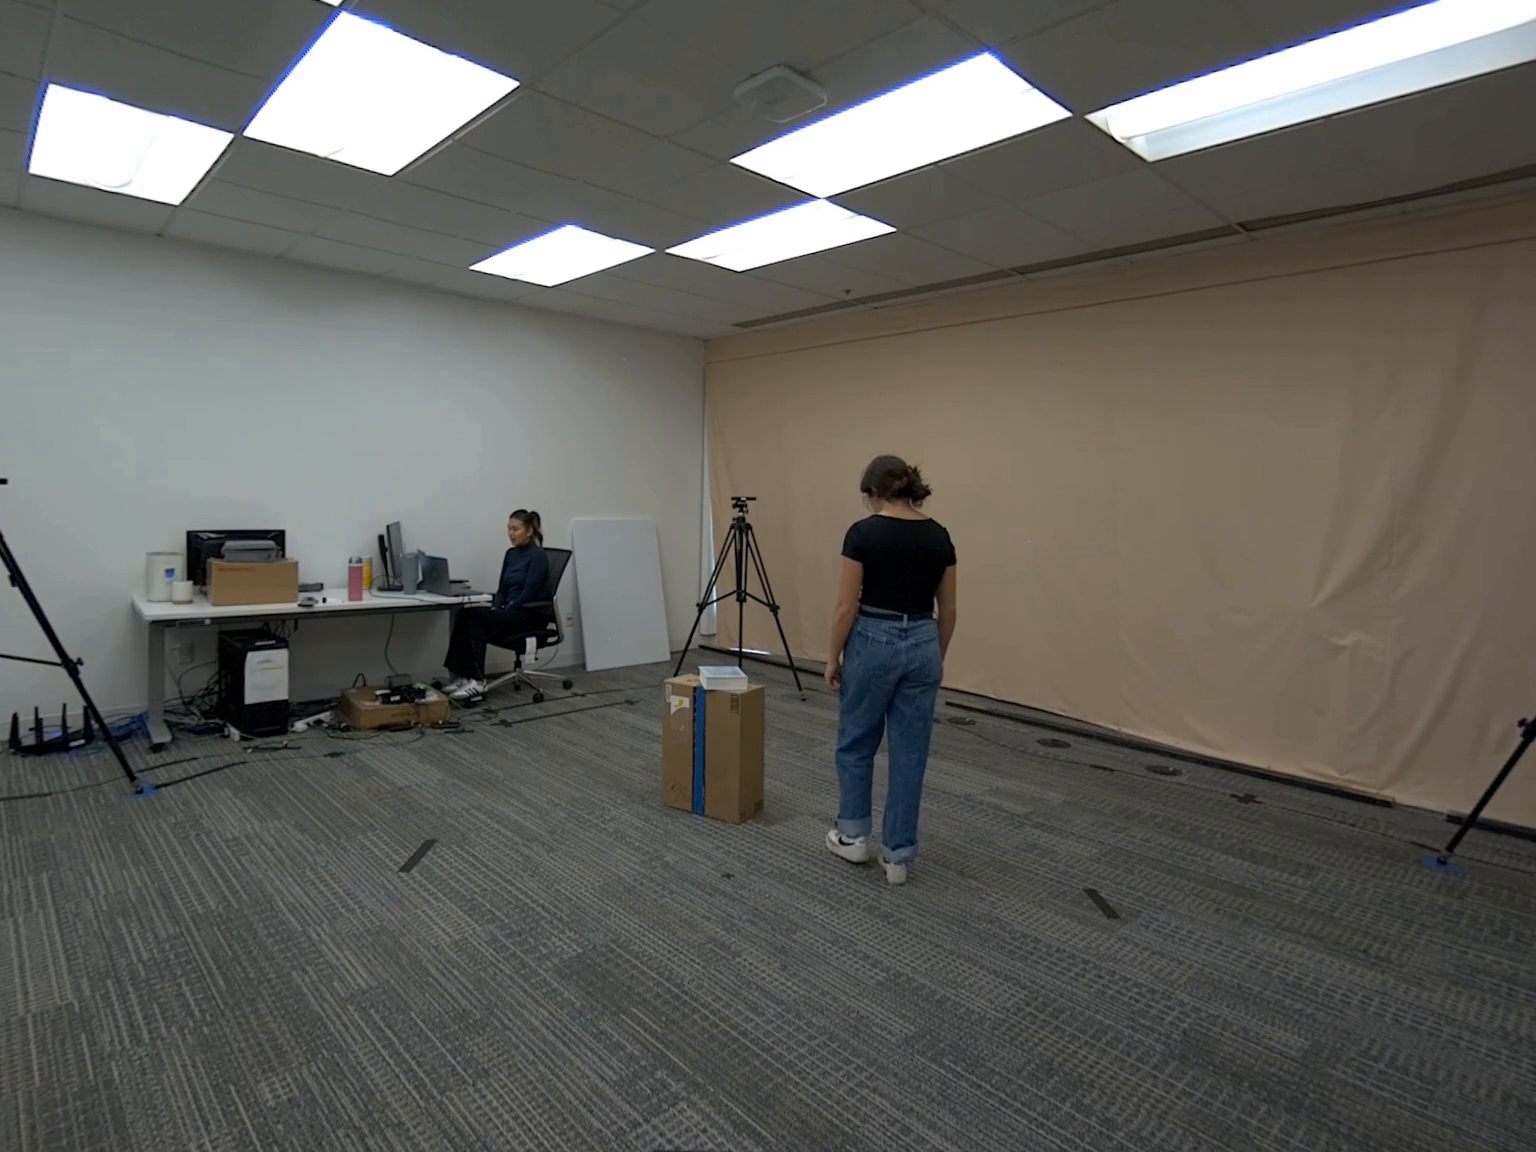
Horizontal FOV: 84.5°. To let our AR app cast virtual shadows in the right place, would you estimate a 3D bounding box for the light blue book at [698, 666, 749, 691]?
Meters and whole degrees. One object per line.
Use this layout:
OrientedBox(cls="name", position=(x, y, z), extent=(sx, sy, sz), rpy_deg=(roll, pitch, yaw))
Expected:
OrientedBox(cls="light blue book", position=(-0.212, 0.456, 3.778), extent=(0.190, 0.059, 0.264), rpy_deg=(1, 5, -11))
